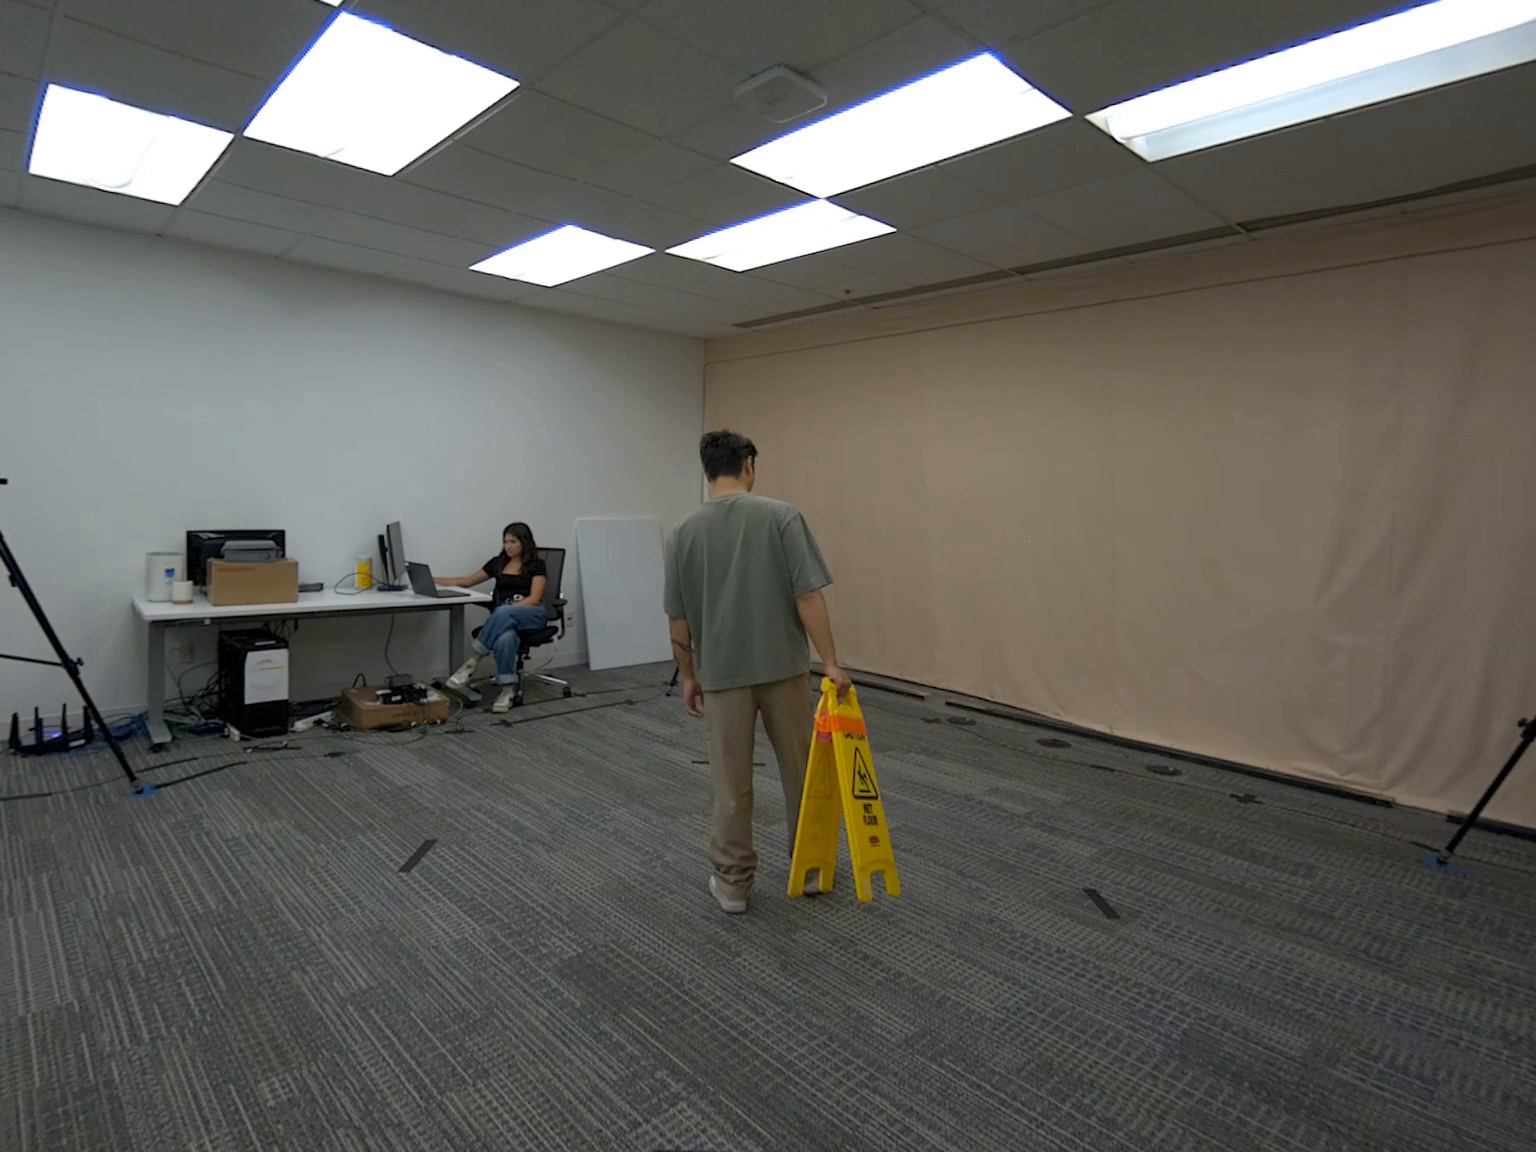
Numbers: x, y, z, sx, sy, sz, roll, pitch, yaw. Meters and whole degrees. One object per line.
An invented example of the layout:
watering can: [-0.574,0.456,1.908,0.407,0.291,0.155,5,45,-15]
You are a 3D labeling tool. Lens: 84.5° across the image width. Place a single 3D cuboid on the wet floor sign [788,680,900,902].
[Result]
wet floor sign: [0.223,0.660,2.653,0.295,0.654,0.274,-9,-19,31]
